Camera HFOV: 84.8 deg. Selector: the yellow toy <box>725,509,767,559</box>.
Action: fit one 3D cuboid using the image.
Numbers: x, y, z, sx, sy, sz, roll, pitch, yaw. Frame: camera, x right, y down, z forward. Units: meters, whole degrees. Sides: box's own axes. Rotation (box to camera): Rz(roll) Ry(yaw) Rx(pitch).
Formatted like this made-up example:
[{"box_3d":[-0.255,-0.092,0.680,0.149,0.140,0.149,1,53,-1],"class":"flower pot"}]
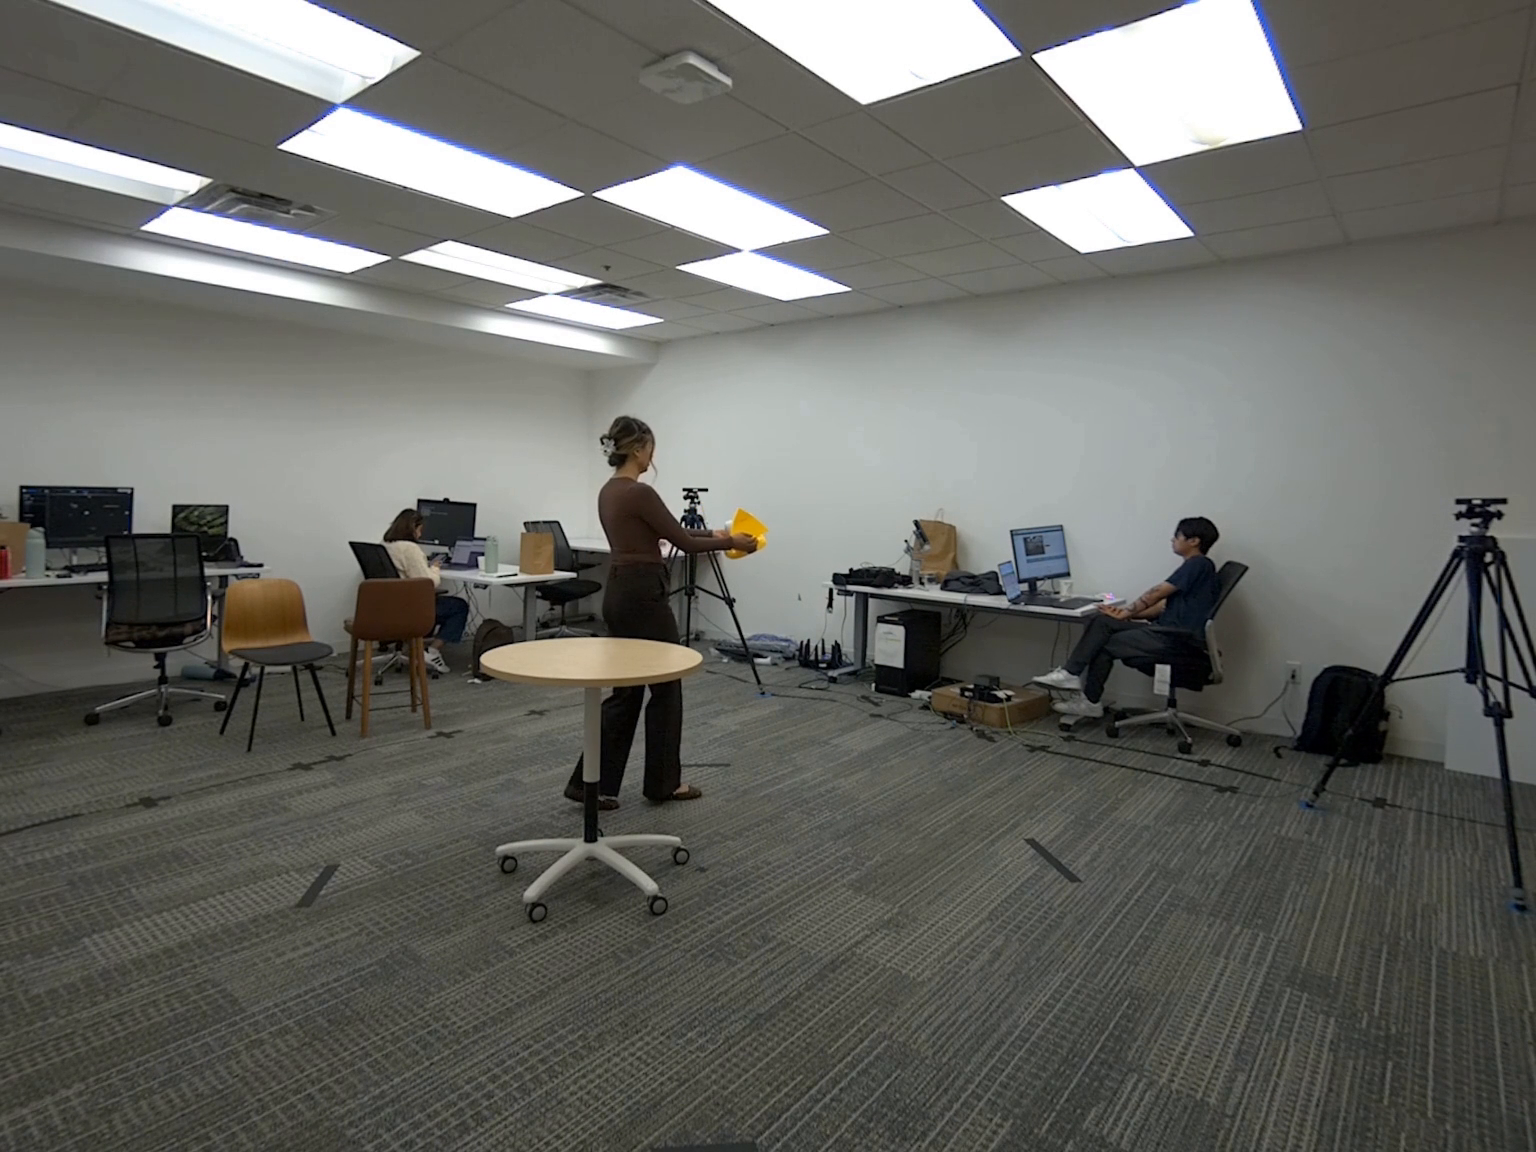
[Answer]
[{"box_3d":[-0.147,-0.233,3.966,0.202,0.225,0.200,-25,25,-21],"class":"yellow toy"}]
